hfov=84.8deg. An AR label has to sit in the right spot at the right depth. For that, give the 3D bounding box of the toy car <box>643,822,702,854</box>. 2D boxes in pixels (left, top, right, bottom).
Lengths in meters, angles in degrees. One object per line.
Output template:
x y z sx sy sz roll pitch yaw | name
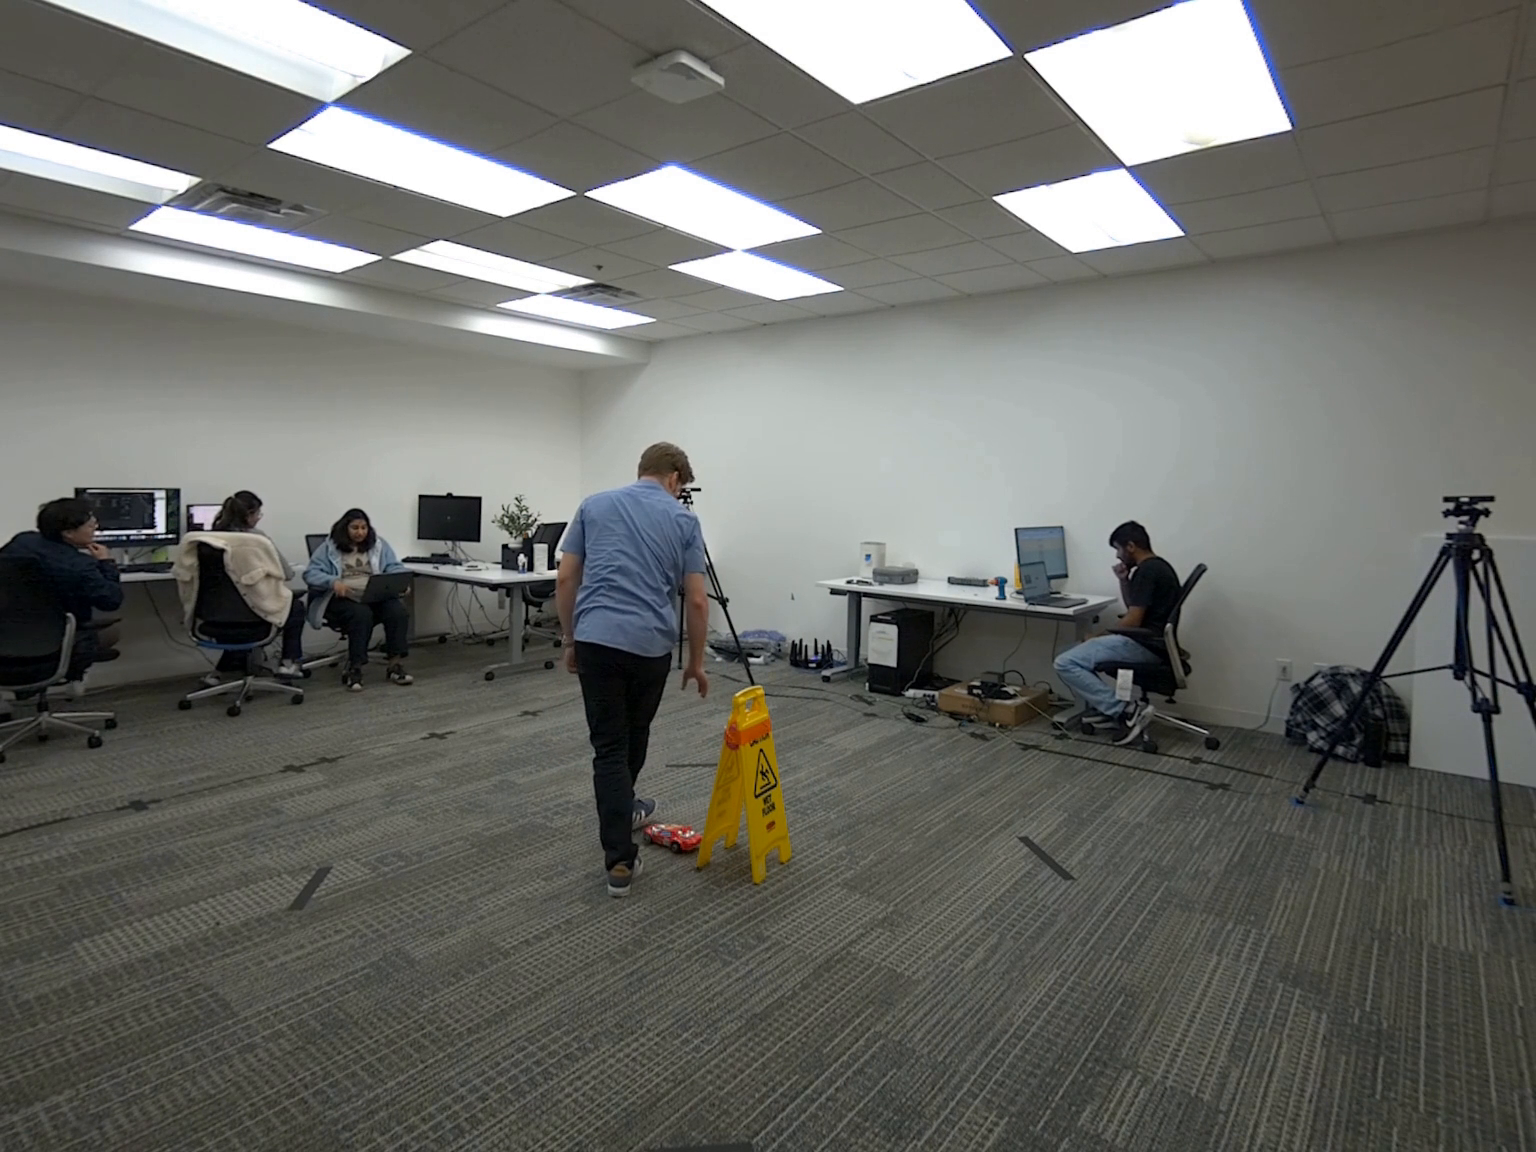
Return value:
-0.377 1.014 3.310 0.261 0.083 0.127 -7 -1 36 | toy car
